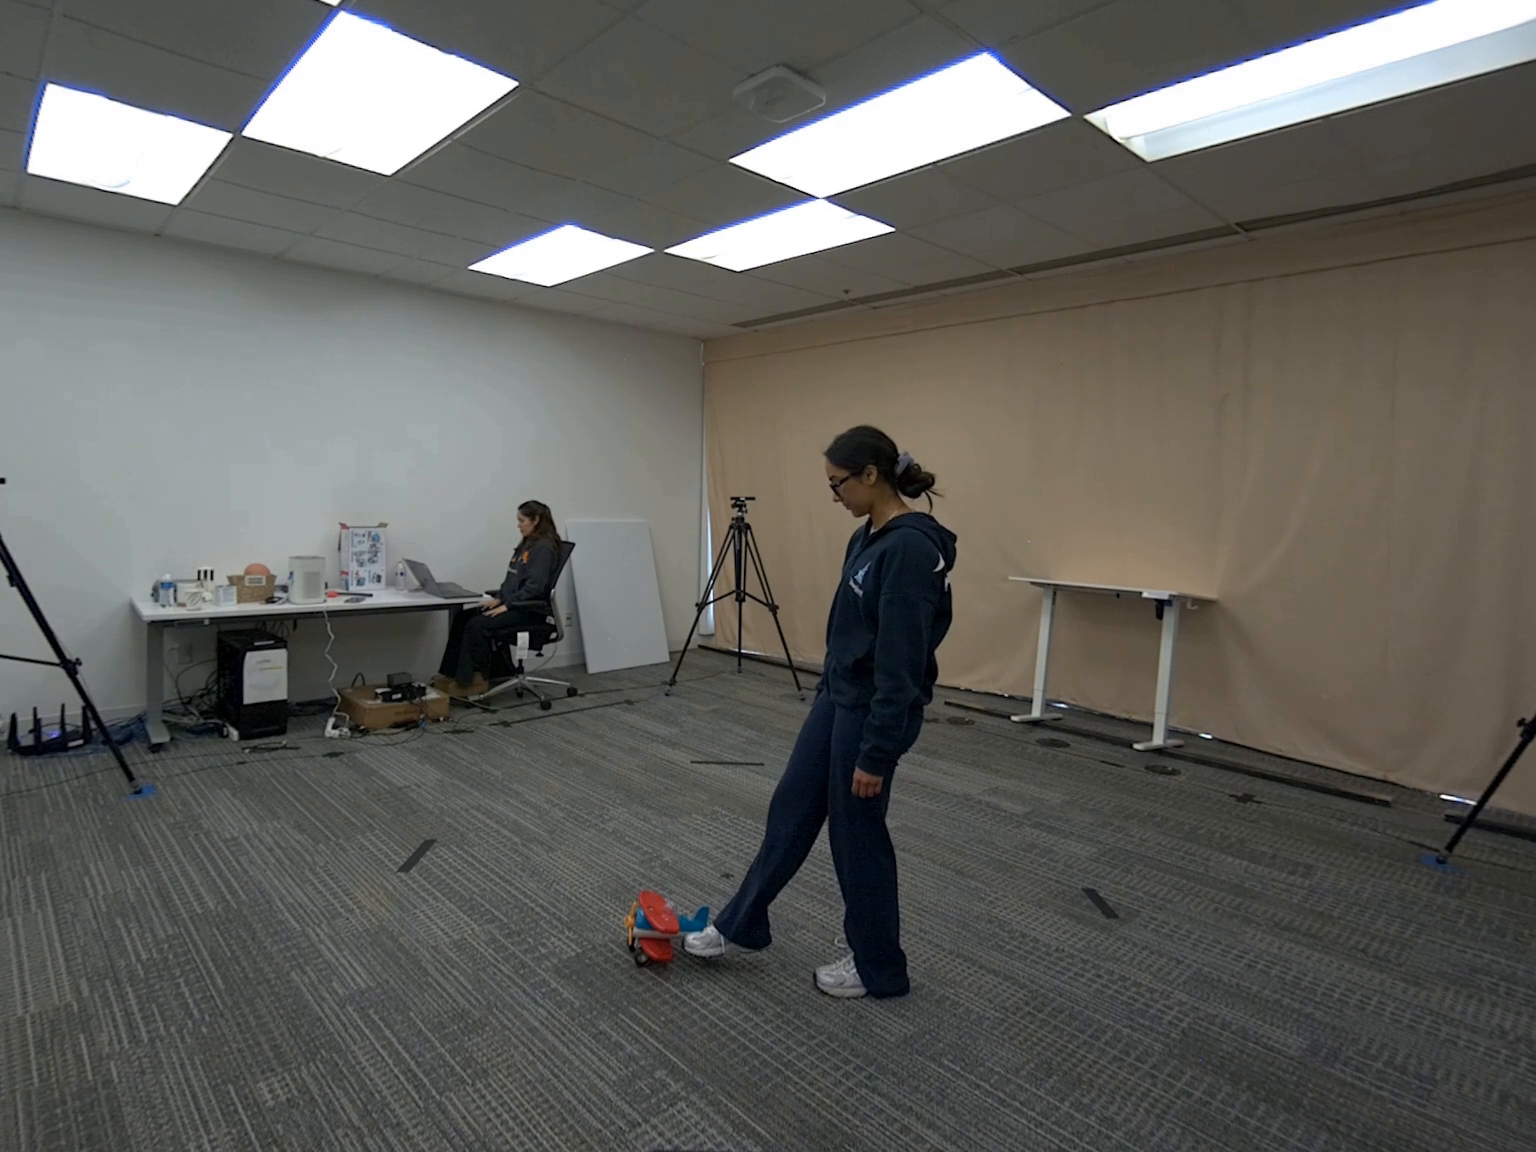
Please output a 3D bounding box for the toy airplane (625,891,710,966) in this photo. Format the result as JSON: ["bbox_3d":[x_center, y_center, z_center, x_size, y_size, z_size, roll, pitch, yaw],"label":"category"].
[{"bbox_3d":[-0.317,1.077,2.571,0.257,0.156,0.254,5,8,41],"label":"toy airplane"}]
